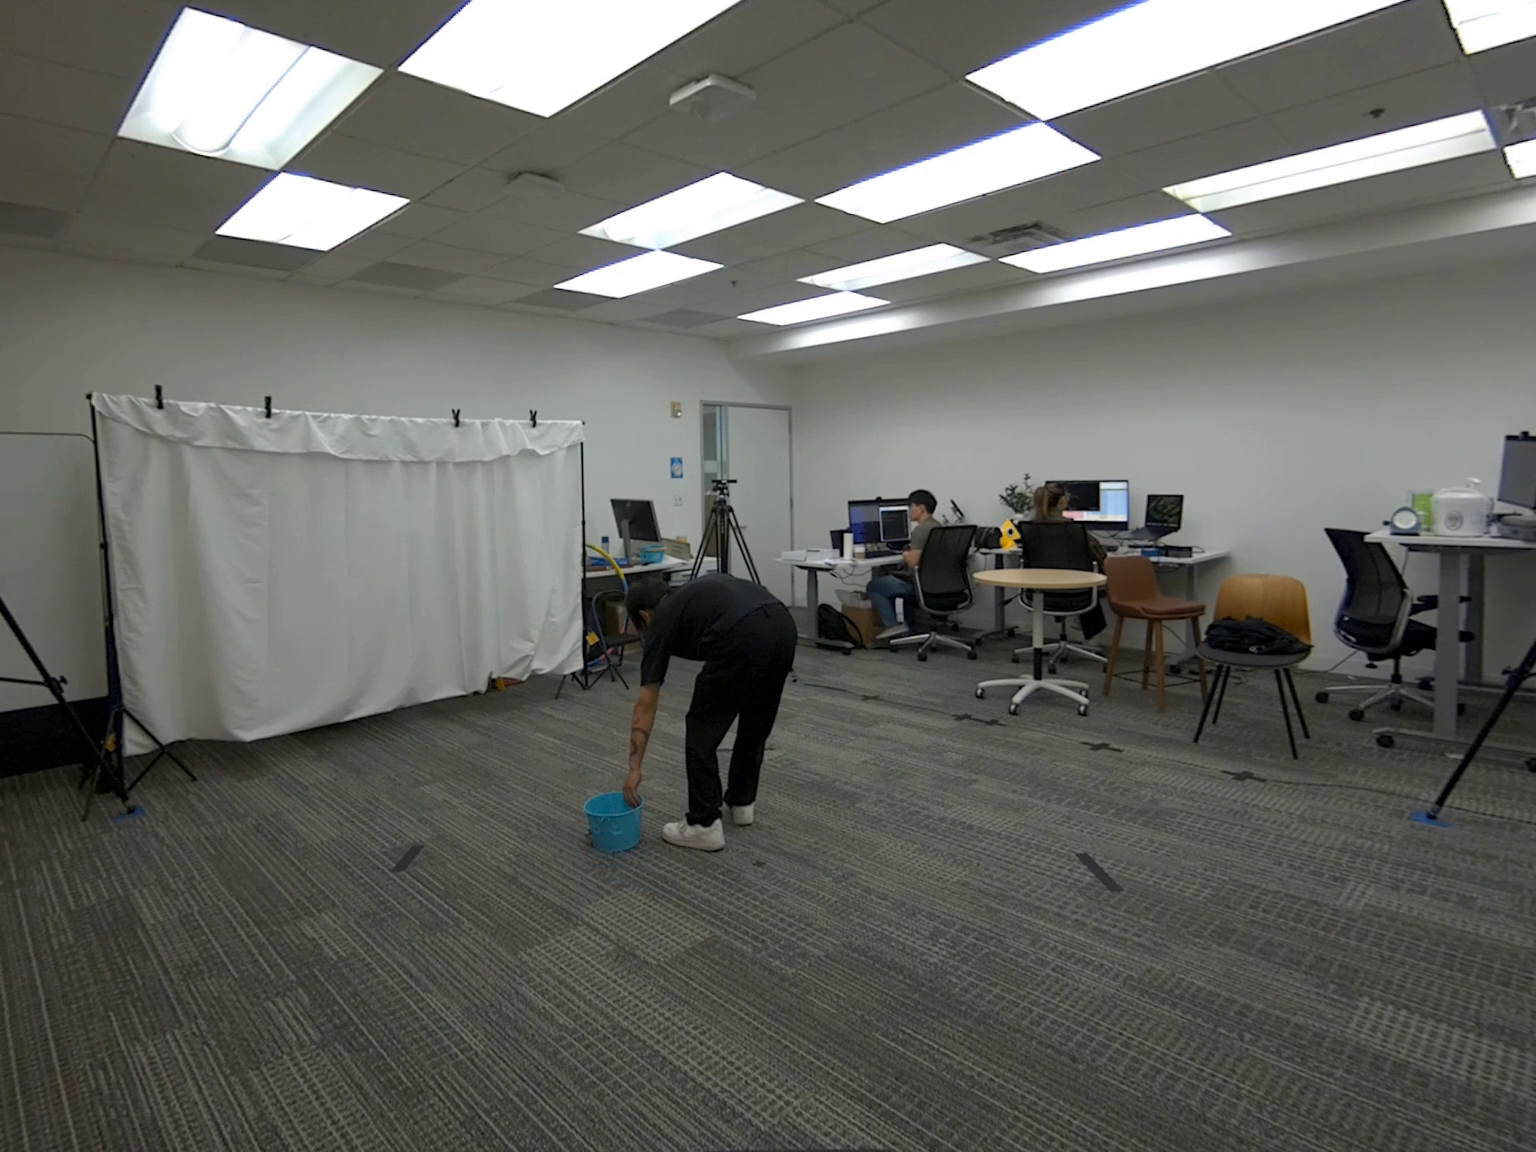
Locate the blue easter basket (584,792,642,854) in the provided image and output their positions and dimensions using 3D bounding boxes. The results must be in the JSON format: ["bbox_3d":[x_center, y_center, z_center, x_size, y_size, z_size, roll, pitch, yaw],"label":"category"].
[{"bbox_3d":[-0.583,0.952,3.311,0.243,0.155,0.245,-4,7,-1],"label":"blue easter basket"}]
